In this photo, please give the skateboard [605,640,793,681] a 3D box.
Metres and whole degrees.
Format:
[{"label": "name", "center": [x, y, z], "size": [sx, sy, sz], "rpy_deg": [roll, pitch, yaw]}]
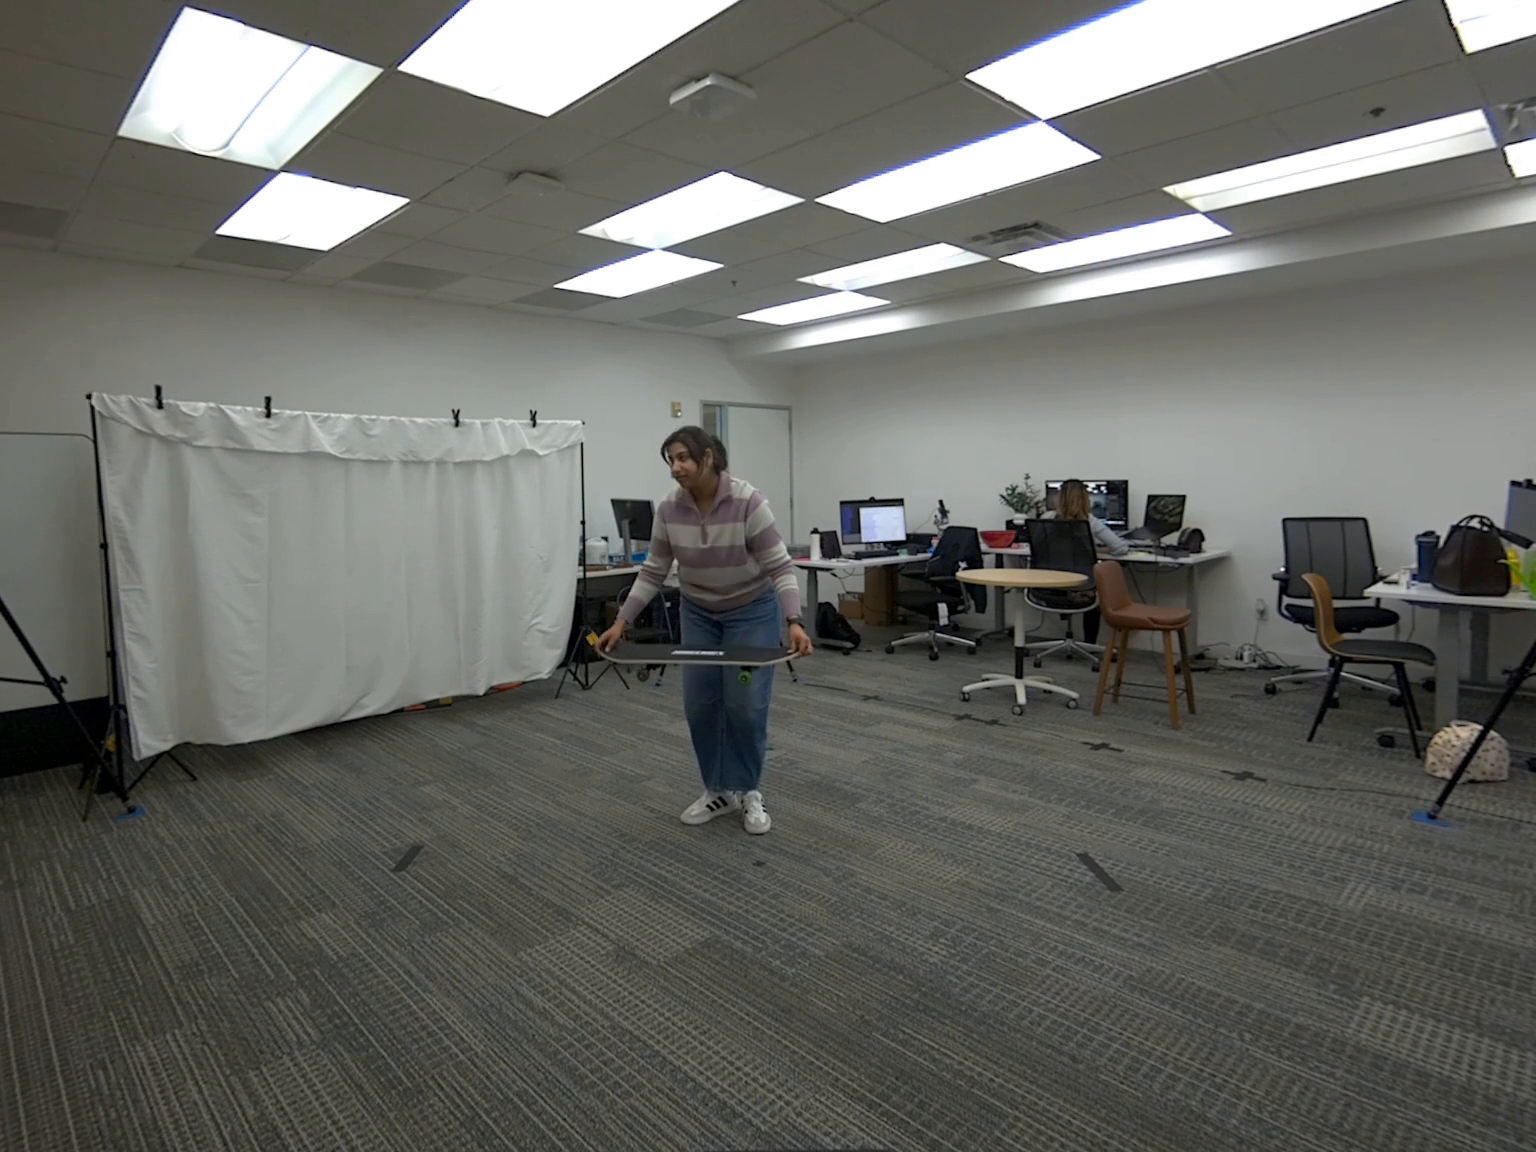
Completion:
[{"label": "skateboard", "center": [-0.257, 0.336, 3.228], "size": [0.796, 0.109, 0.193], "rpy_deg": [-1, 12, 14]}]
